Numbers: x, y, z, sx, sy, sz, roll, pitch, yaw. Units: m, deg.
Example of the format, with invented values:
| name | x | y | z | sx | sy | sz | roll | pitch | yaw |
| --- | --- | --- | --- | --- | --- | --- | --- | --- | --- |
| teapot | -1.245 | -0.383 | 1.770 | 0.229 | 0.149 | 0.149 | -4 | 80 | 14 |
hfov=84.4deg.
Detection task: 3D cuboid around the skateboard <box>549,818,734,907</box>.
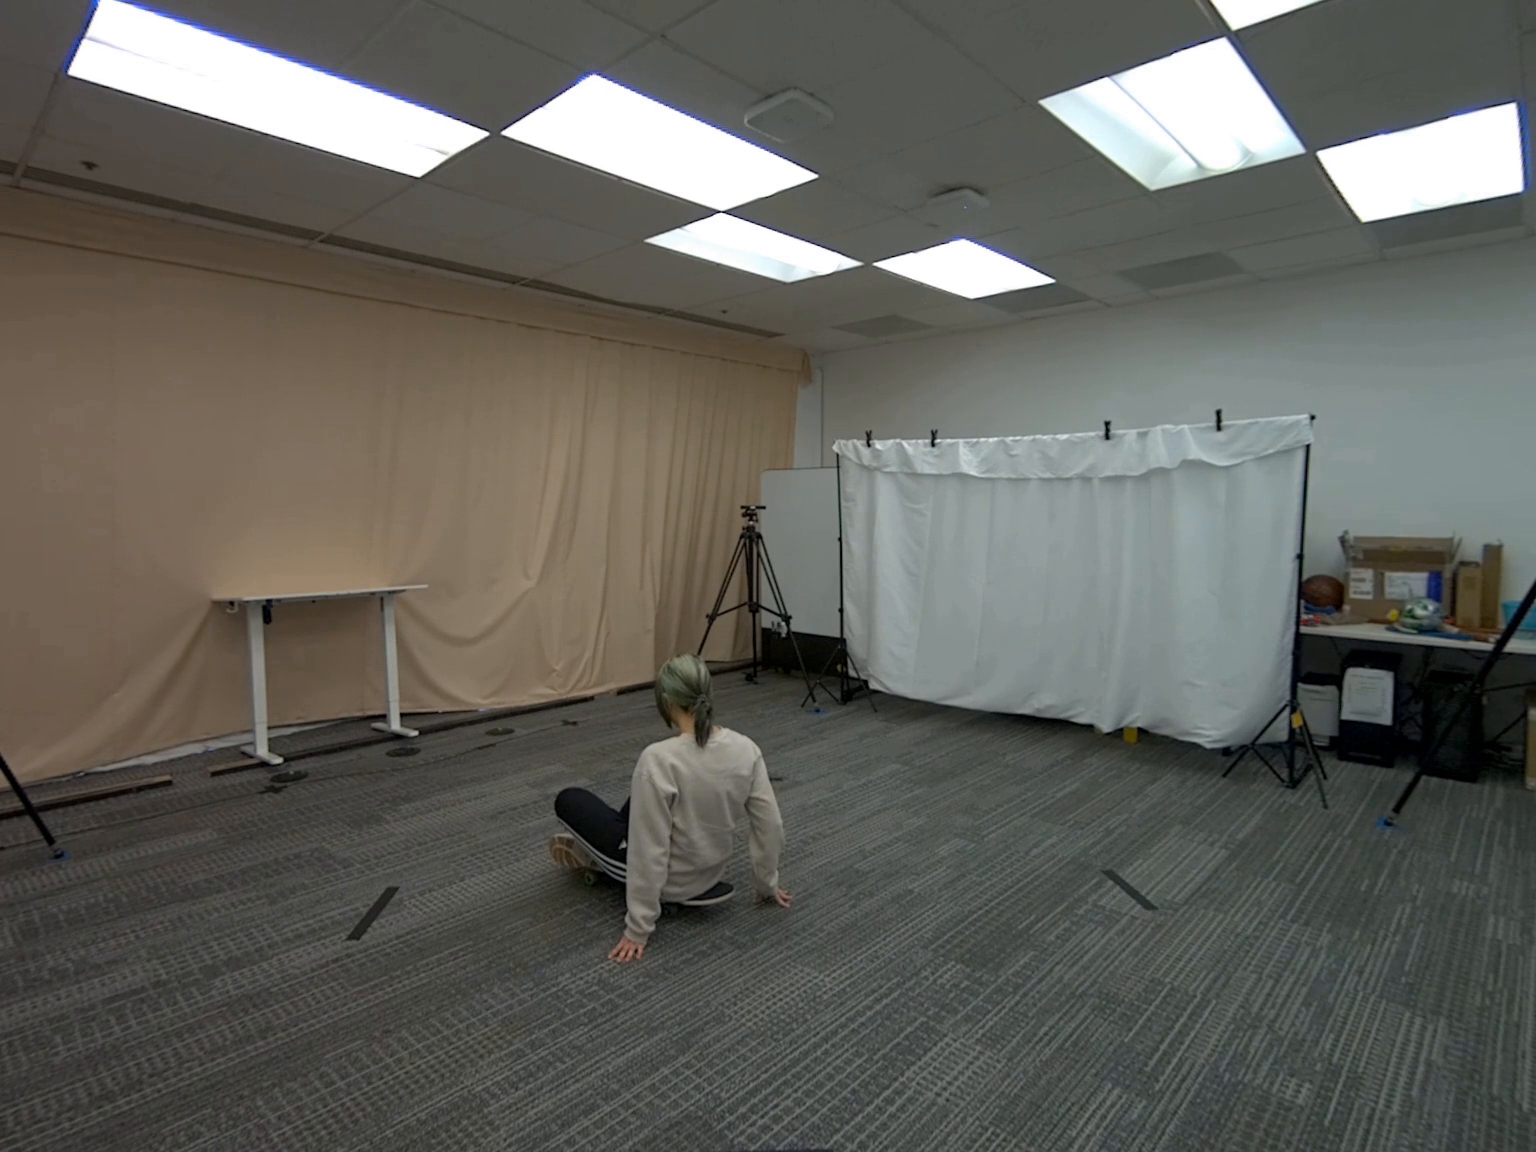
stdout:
| name | x | y | z | sx | sy | sz | roll | pitch | yaw |
| --- | --- | --- | --- | --- | --- | --- | --- | --- | --- |
| skateboard | -0.472 | 1.087 | 3.038 | 0.811 | 0.110 | 0.188 | 6 | 8 | 35 |
